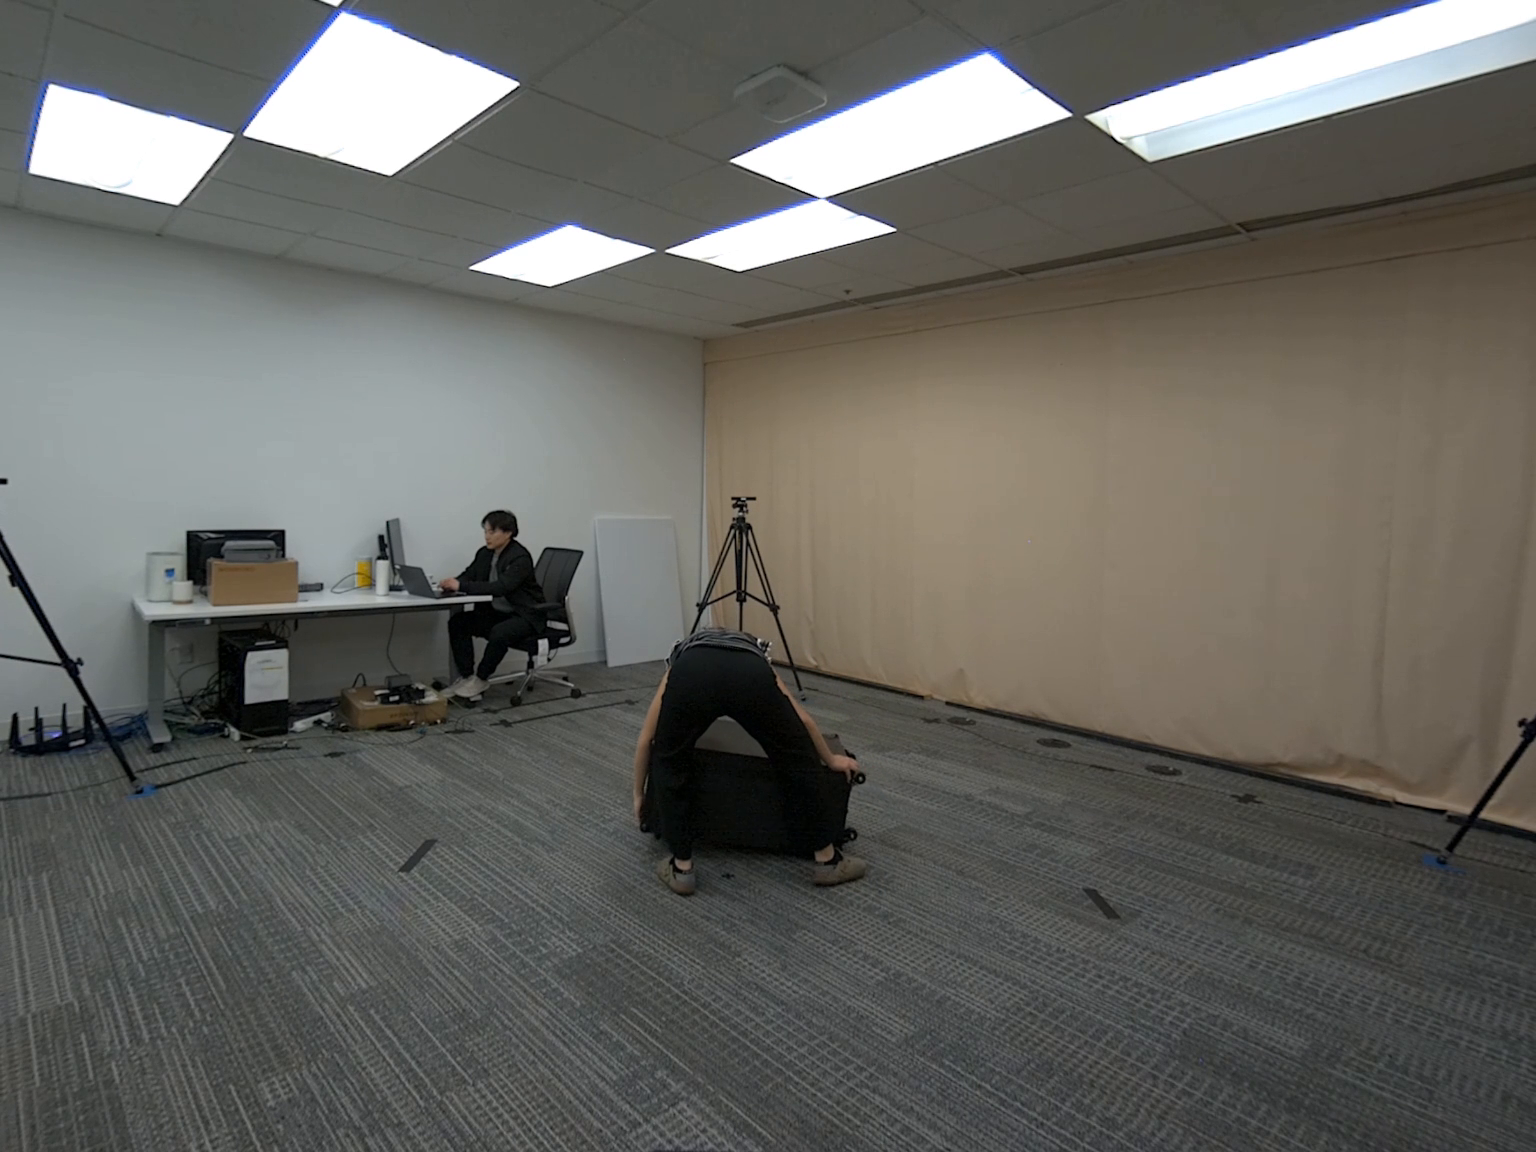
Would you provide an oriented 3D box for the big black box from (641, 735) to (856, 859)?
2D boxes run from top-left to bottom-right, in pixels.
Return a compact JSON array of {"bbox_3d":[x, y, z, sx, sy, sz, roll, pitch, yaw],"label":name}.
[{"bbox_3d":[-0.064,0.854,3.477,0.861,0.395,0.523,6,4,0],"label":"big black box"}]
